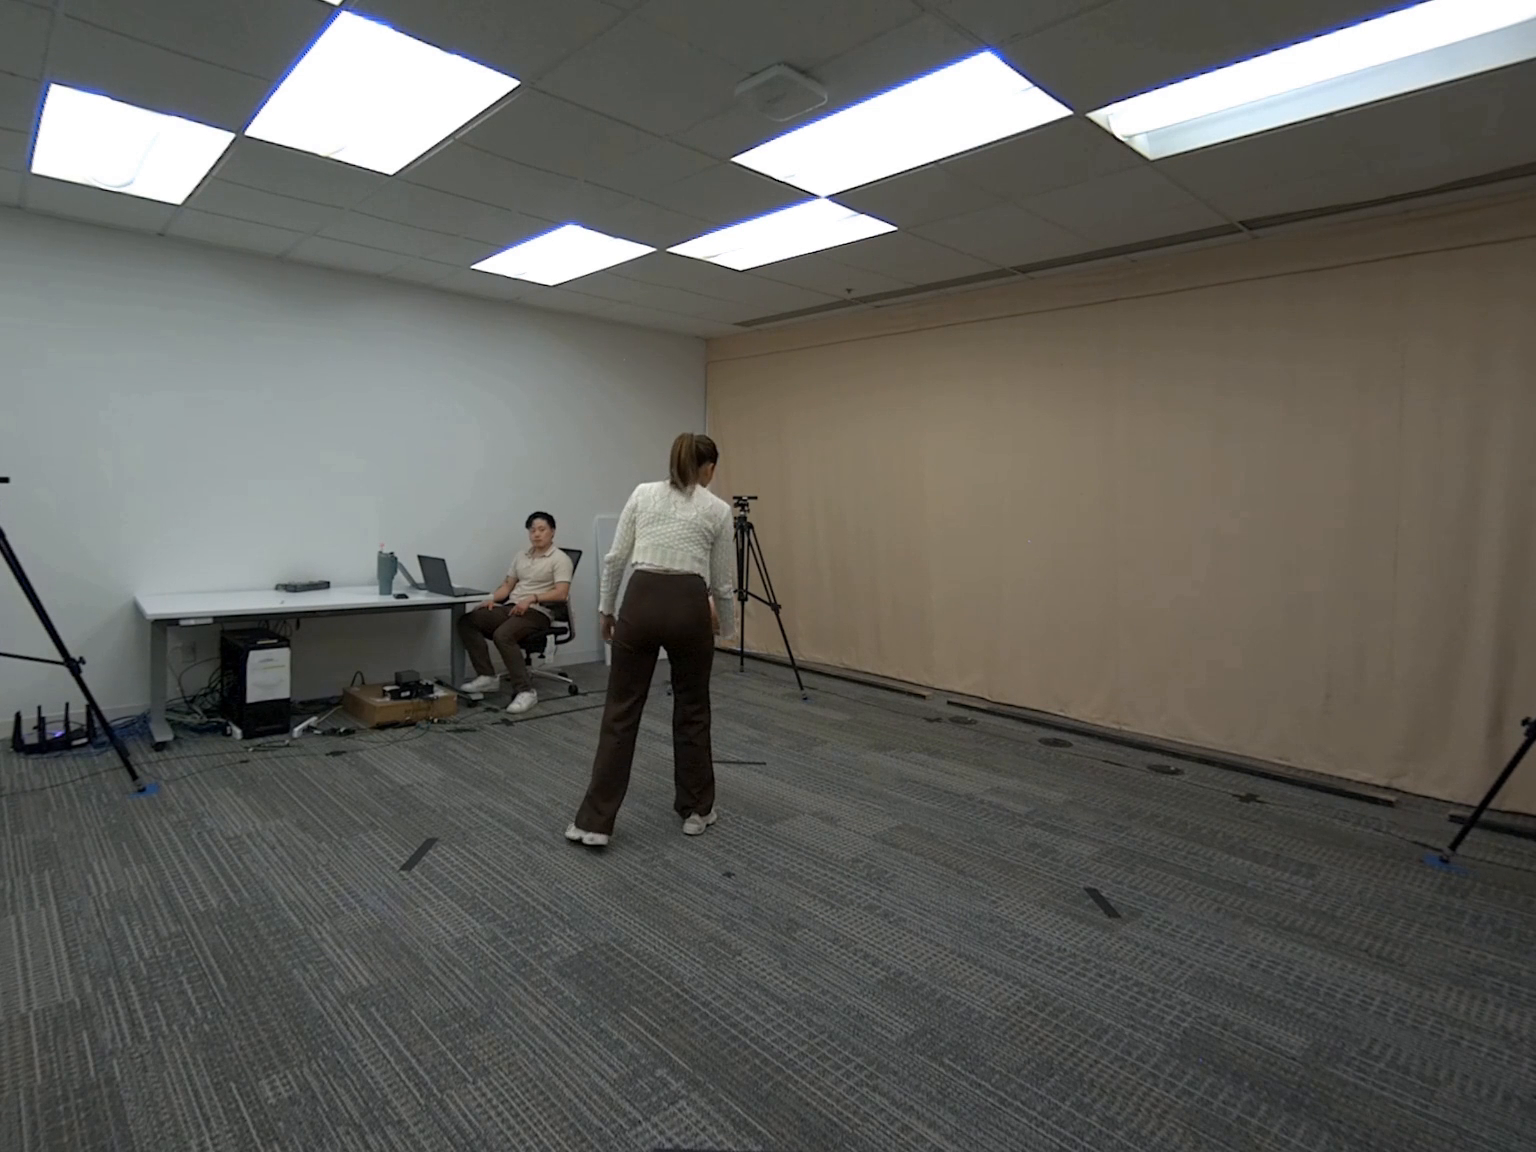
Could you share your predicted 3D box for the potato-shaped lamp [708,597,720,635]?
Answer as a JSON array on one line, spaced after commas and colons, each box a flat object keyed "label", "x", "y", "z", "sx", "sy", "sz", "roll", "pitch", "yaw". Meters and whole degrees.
[{"label": "potato-shaped lamp", "x": -0.219, "y": 0.174, "z": 3.766, "sx": 0.164, "sy": 0.169, "sz": 0.201, "roll": -11, "pitch": 14, "yaw": -6}]
